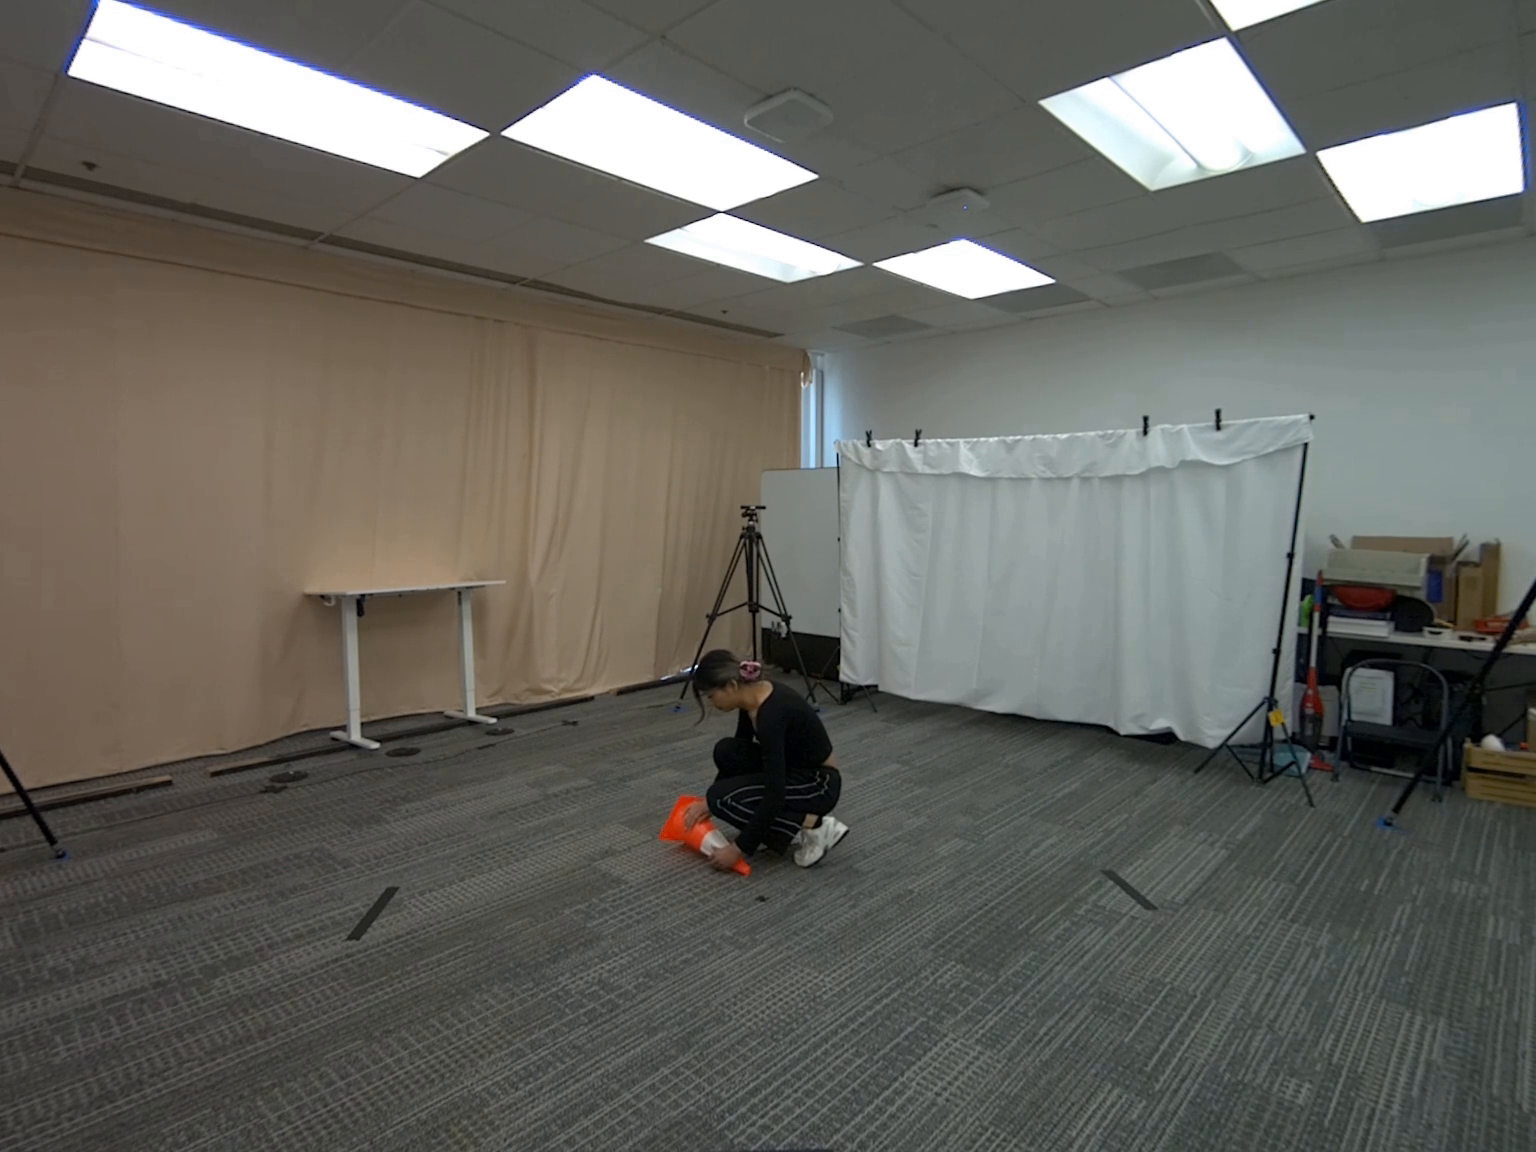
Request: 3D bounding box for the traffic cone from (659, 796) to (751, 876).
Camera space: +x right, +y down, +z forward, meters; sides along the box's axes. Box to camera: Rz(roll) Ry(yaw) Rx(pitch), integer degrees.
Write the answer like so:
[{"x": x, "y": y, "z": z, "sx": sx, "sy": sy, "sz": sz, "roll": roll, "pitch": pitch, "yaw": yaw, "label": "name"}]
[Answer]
[{"x": -0.206, "y": 1.064, "z": 3.308, "sx": 0.398, "sy": 0.203, "sz": 0.197, "roll": 27, "pitch": 0, "yaw": 42, "label": "traffic cone"}]
